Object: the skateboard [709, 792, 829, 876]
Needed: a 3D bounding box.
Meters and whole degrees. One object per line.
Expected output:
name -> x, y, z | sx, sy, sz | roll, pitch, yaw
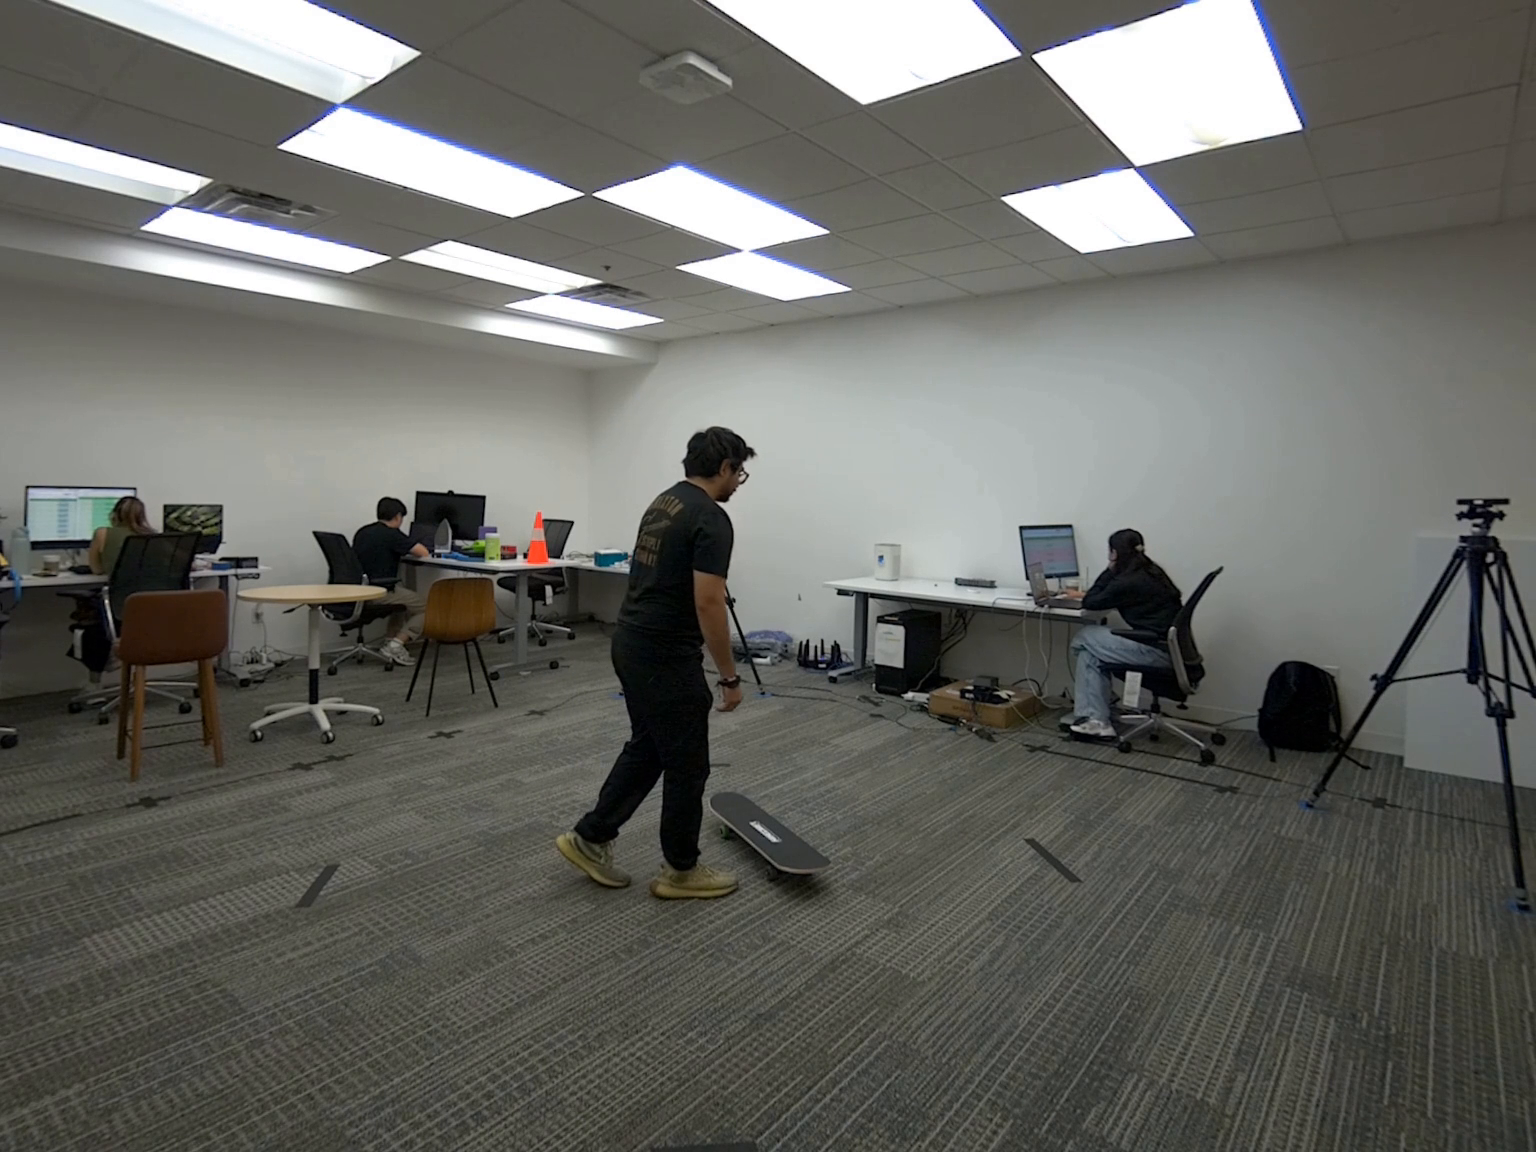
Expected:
skateboard -> -0.024, 1.002, 3.243 | 0.189, 0.110, 0.808 | -2, 7, -27
